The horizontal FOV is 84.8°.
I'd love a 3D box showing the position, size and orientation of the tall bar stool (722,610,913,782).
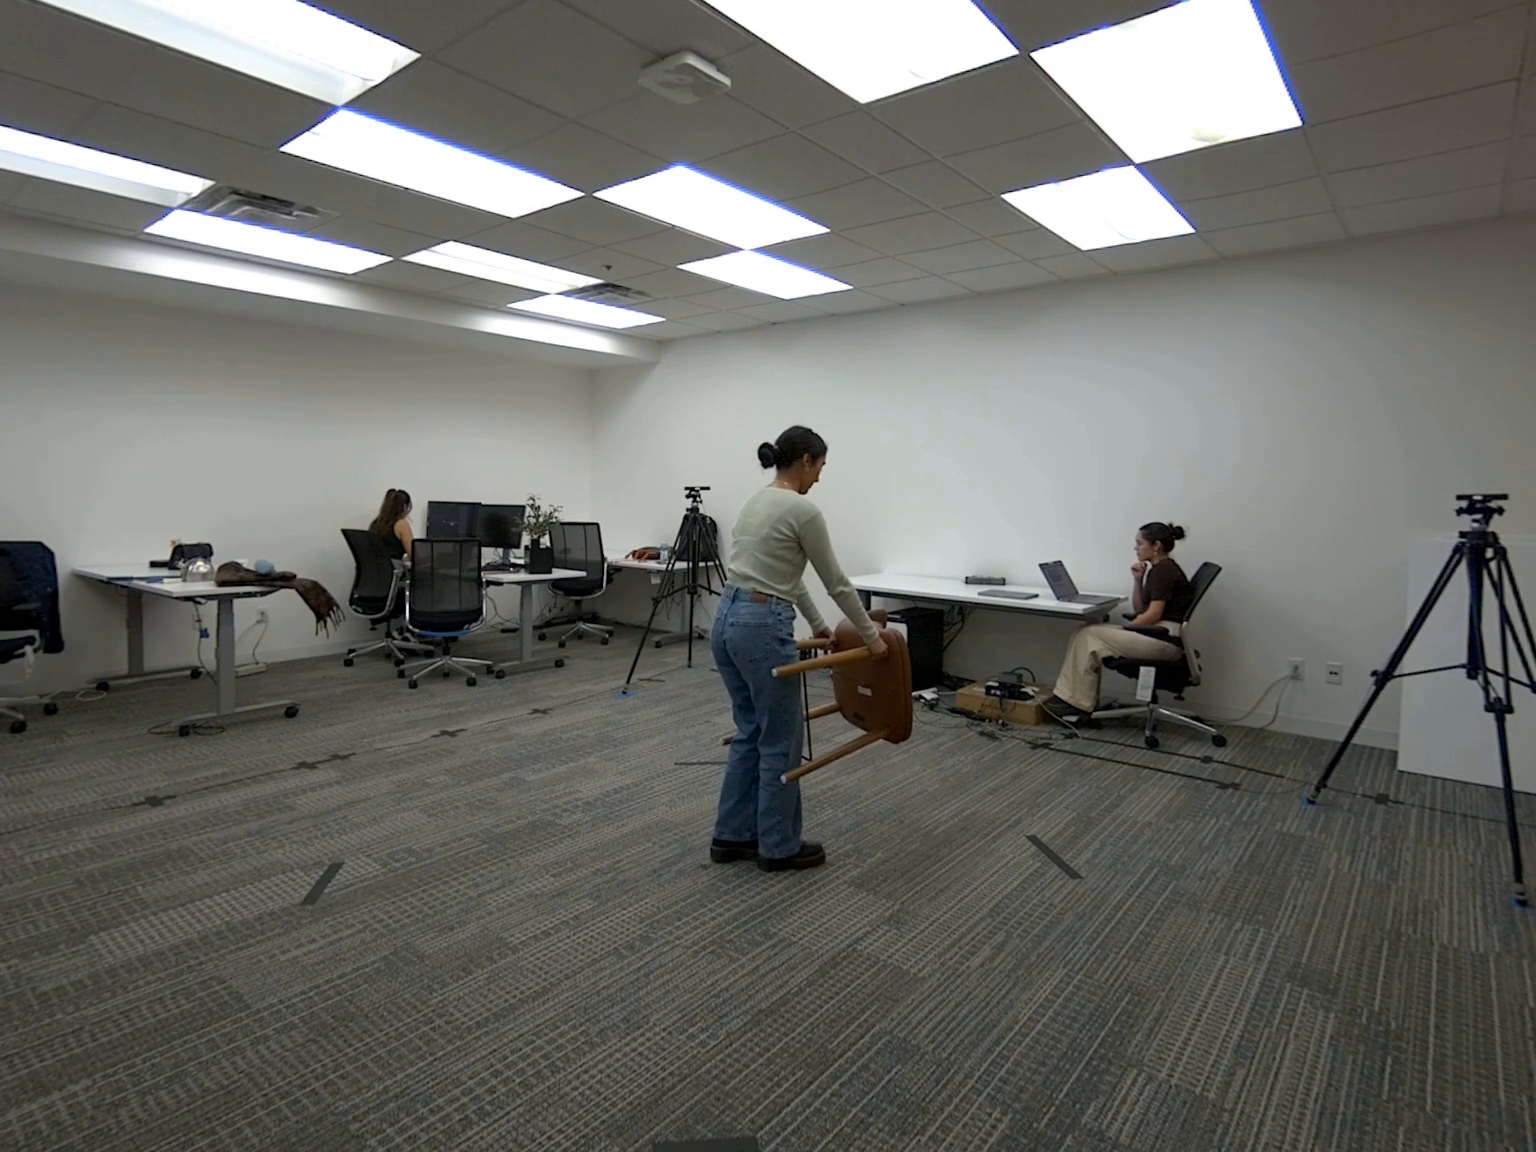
[{"bbox_3d":[0.270,0.423,3.305,0.869,0.453,0.483,-11,10,-32],"label":"tall bar stool"}]
